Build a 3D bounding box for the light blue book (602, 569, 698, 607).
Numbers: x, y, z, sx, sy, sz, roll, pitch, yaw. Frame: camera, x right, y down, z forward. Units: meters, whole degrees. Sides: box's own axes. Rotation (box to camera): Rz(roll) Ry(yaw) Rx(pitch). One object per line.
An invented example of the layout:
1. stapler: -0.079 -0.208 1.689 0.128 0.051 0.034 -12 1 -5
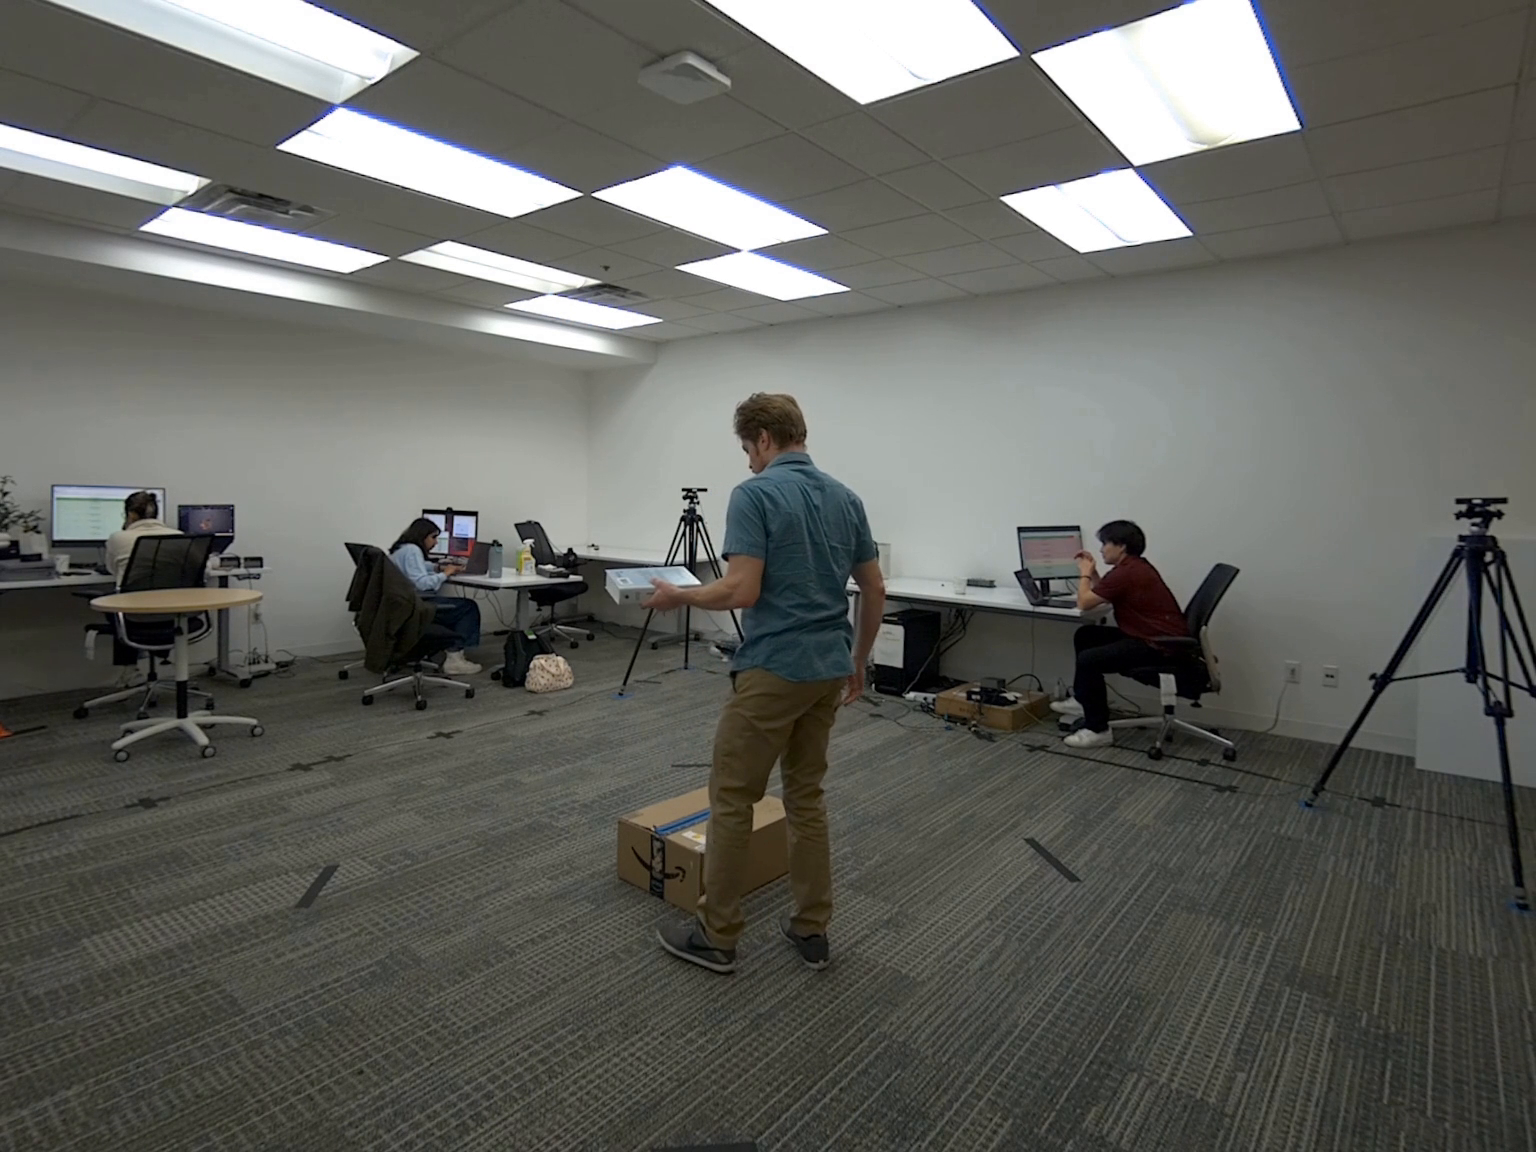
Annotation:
1. light blue book: -0.377 0.033 2.648 0.256 0.058 0.197 -1 17 -19
